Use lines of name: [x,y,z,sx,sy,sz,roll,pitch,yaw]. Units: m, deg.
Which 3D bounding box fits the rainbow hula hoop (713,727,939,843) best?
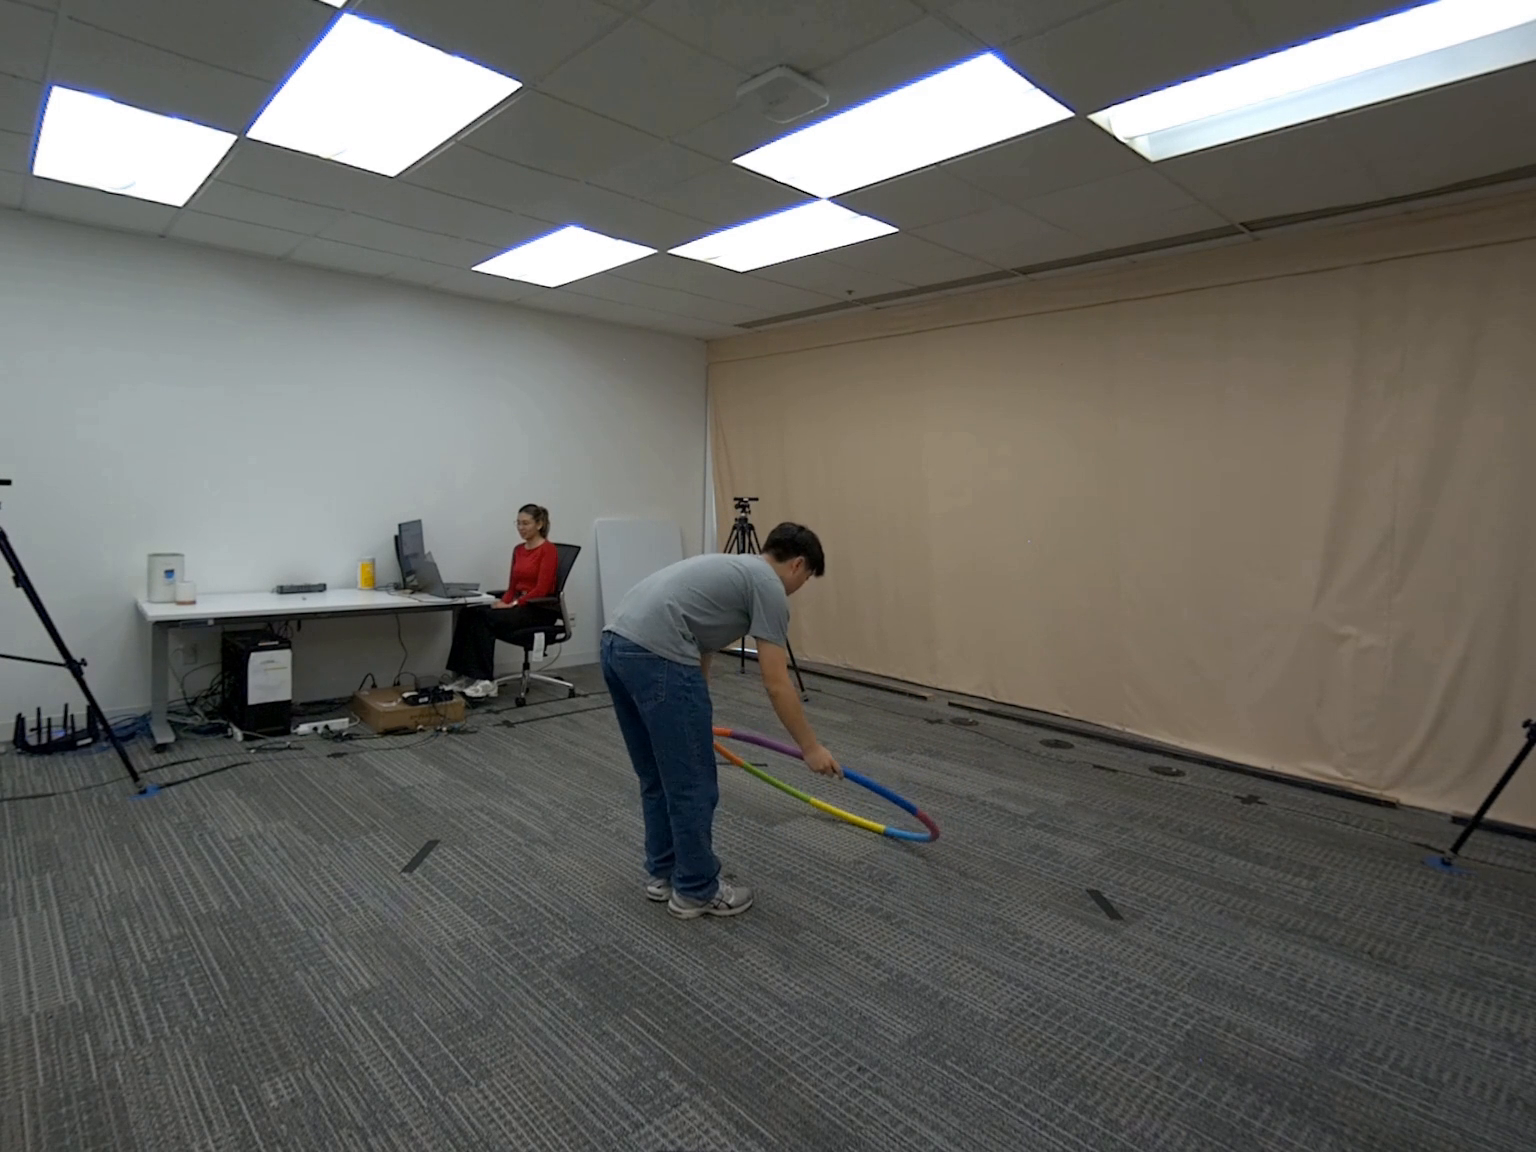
rainbow hula hoop: [0.181,0.808,3.291,0.987,0.036,0.965,23,-19,7]
